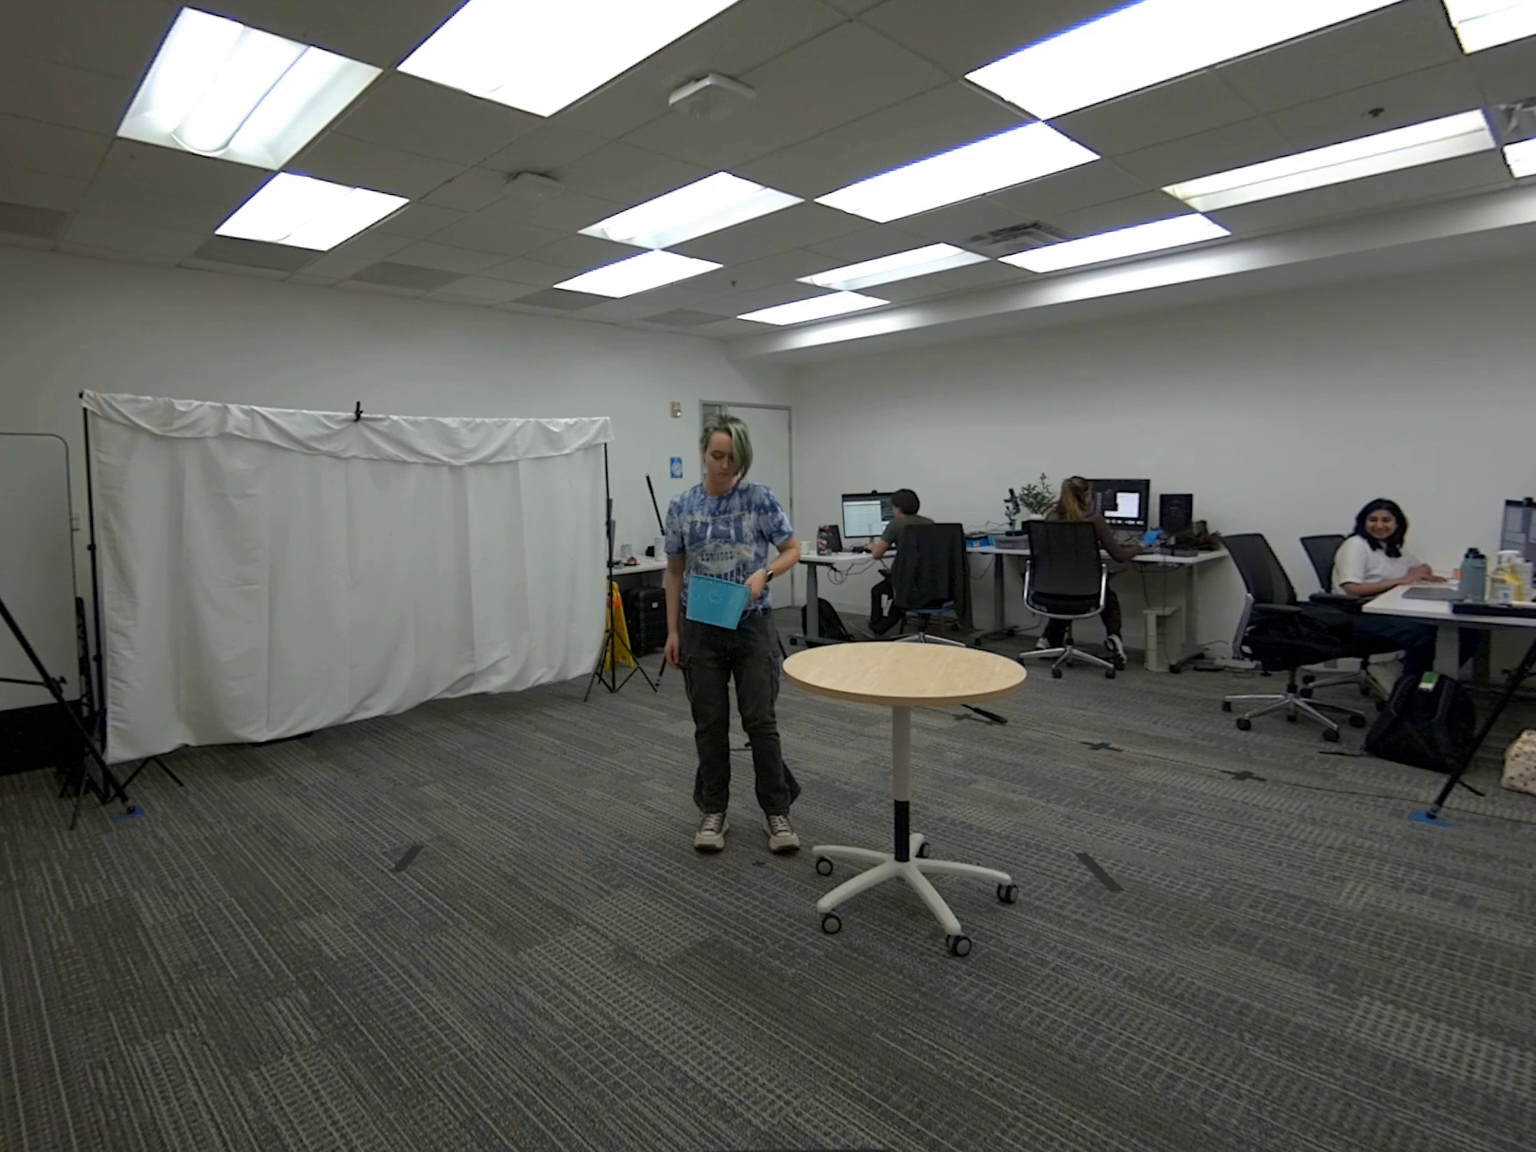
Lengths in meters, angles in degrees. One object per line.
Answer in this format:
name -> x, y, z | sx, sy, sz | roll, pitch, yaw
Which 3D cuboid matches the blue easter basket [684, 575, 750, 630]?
blue easter basket -> -0.175, 0.100, 3.020 | 0.244, 0.156, 0.243 | 10, -4, -1
